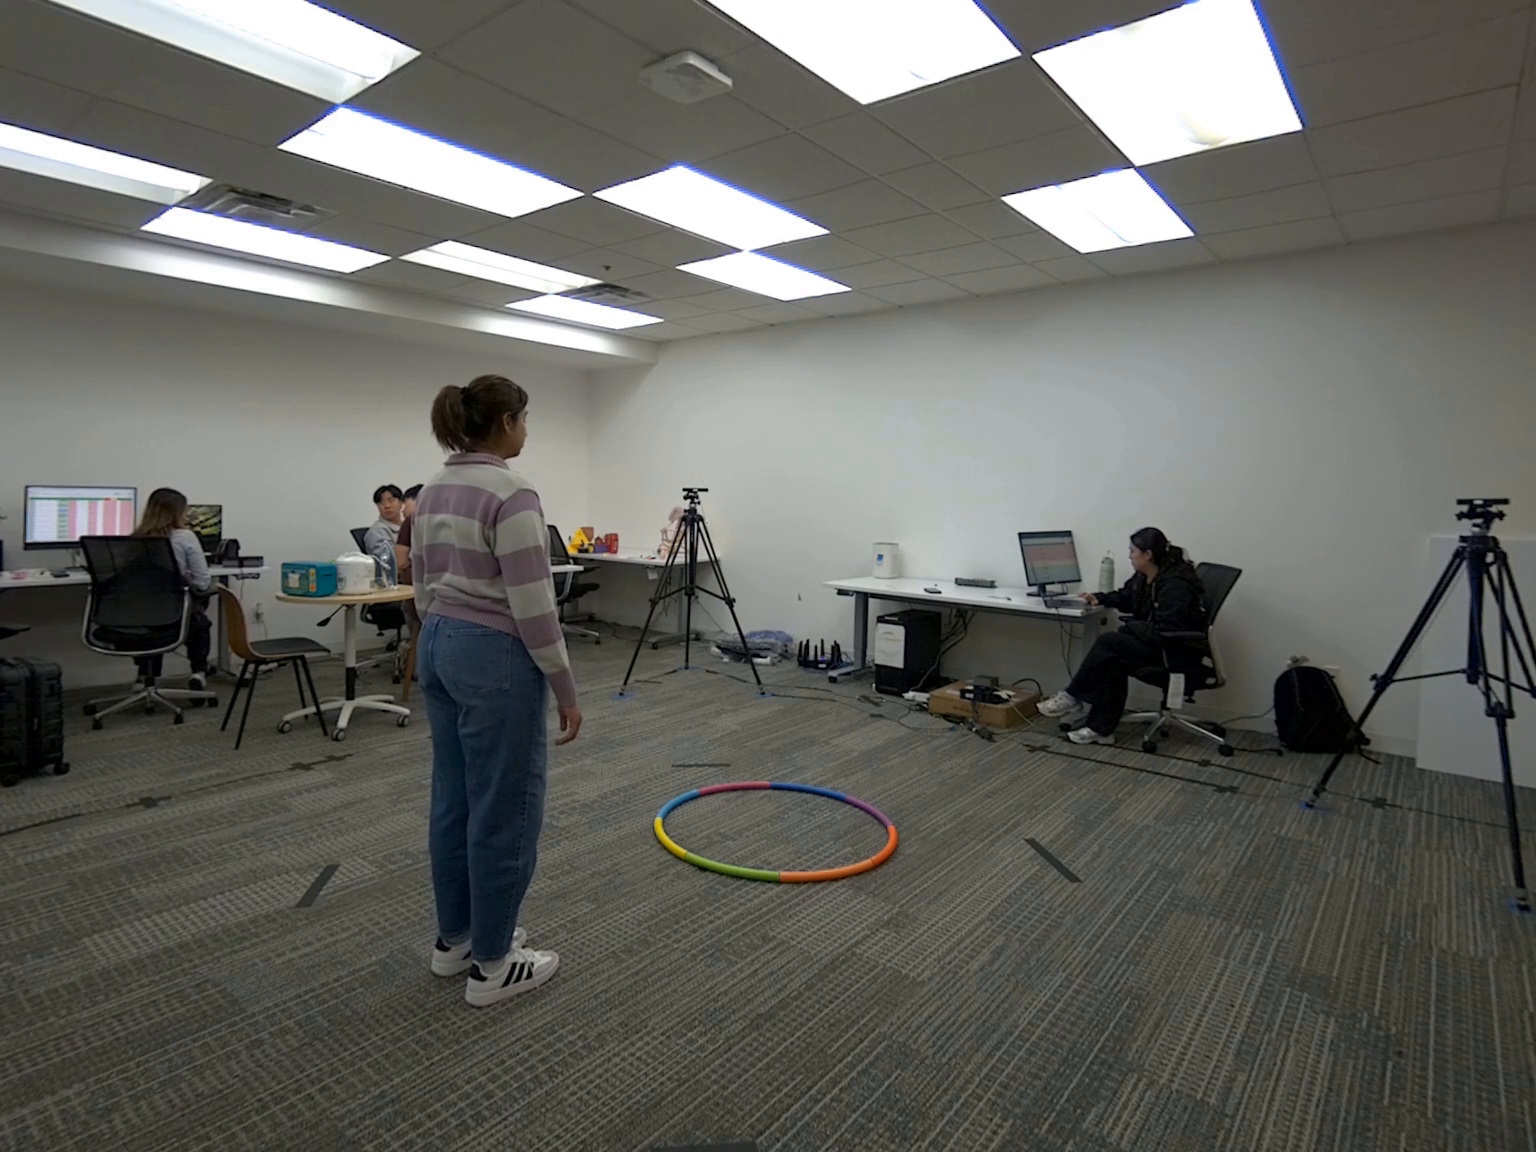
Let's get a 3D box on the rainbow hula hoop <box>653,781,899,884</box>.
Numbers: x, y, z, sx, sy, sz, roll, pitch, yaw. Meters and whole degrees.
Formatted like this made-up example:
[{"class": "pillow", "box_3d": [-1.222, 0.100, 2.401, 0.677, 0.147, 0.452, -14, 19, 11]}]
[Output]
[{"class": "rainbow hula hoop", "box_3d": [0.015, 1.007, 3.488, 0.978, 0.035, 0.984, 1, 6, -2]}]
